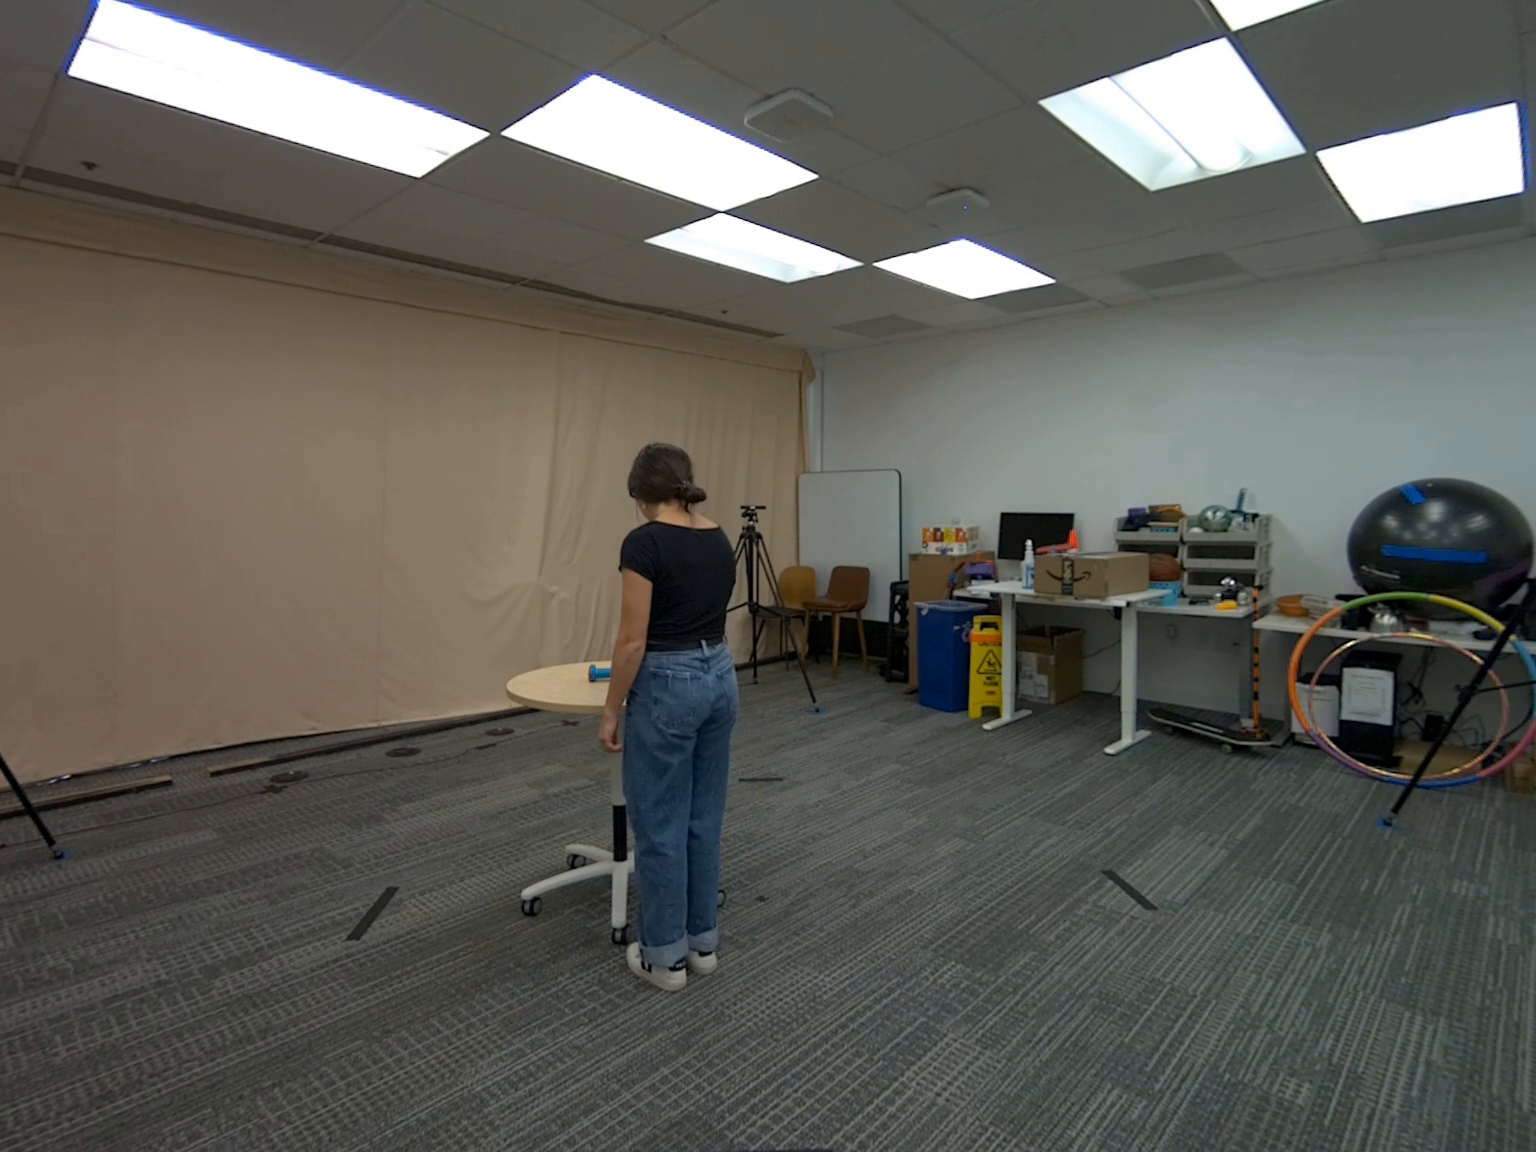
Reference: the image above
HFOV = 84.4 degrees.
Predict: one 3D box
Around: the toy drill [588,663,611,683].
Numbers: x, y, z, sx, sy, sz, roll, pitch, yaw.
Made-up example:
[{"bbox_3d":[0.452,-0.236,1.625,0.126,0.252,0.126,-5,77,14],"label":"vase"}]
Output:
[{"bbox_3d":[-0.550,0.334,2.985,0.146,0.060,0.171,-2,13,2],"label":"toy drill"}]
